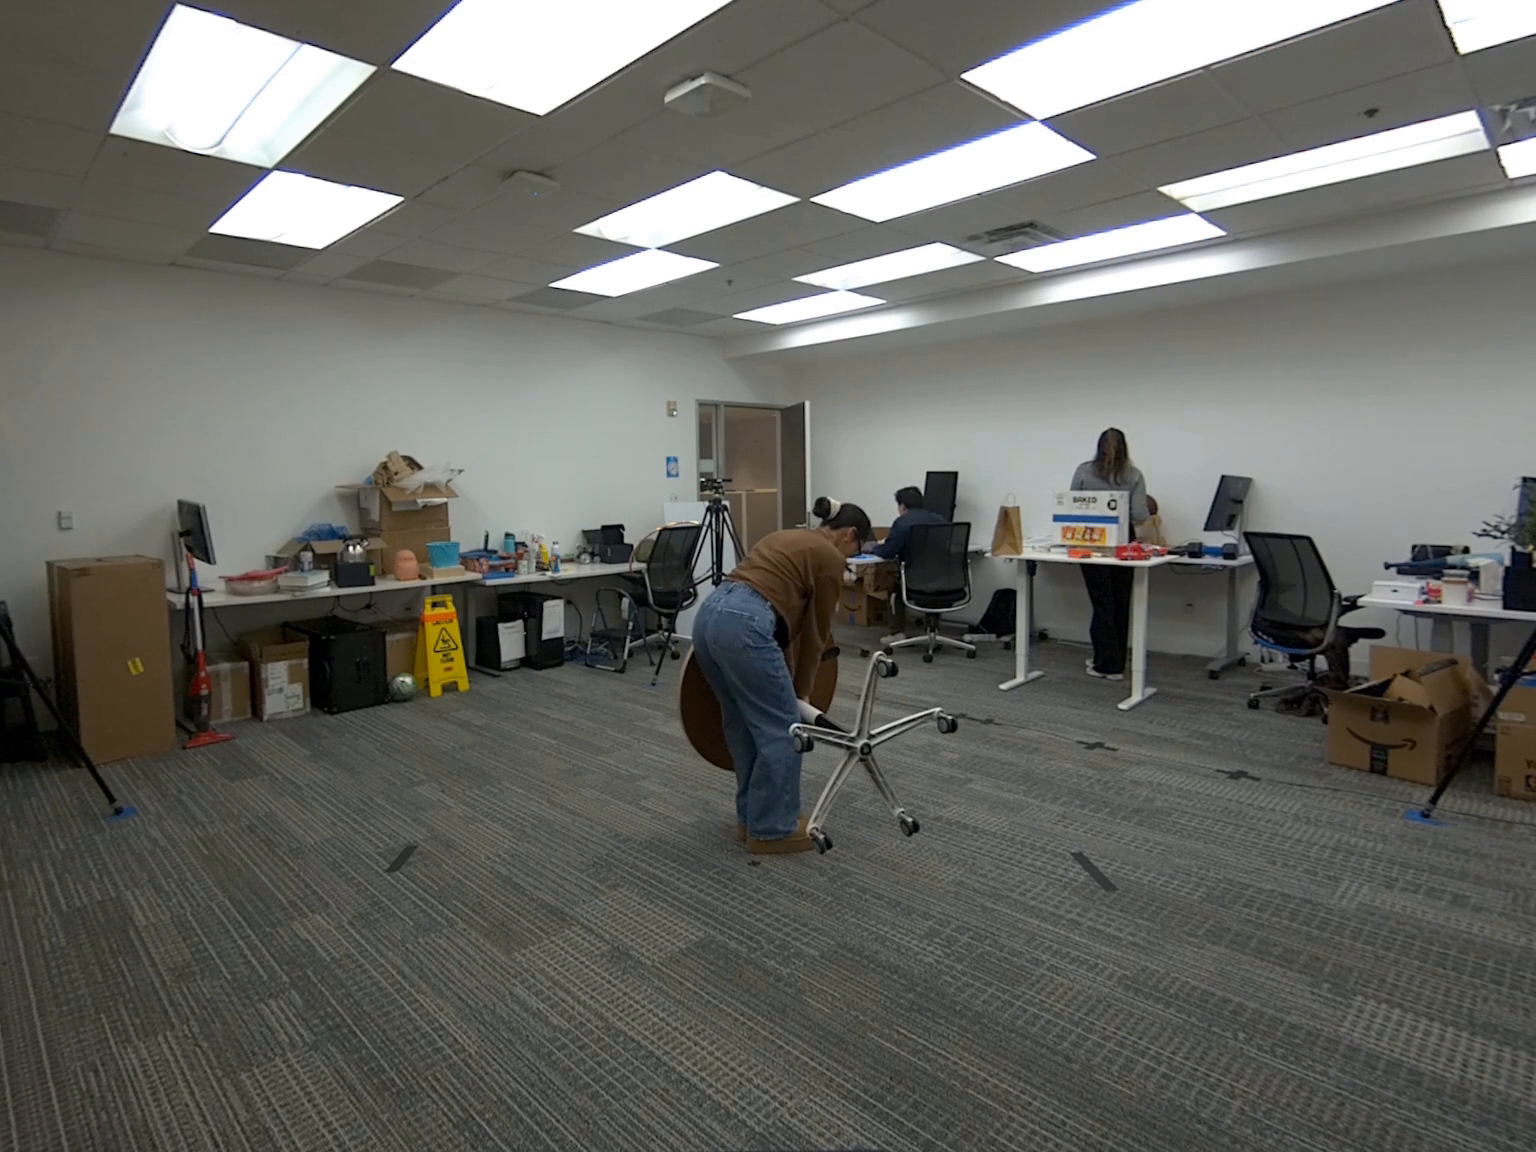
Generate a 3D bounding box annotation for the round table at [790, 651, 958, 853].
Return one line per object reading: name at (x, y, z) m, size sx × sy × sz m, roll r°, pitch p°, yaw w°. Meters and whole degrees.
round table at (0.183, 0.534, 3.223) m, size 0.746 × 0.757 × 0.820 m, roll -4°, pitch 13°, yaw -30°
